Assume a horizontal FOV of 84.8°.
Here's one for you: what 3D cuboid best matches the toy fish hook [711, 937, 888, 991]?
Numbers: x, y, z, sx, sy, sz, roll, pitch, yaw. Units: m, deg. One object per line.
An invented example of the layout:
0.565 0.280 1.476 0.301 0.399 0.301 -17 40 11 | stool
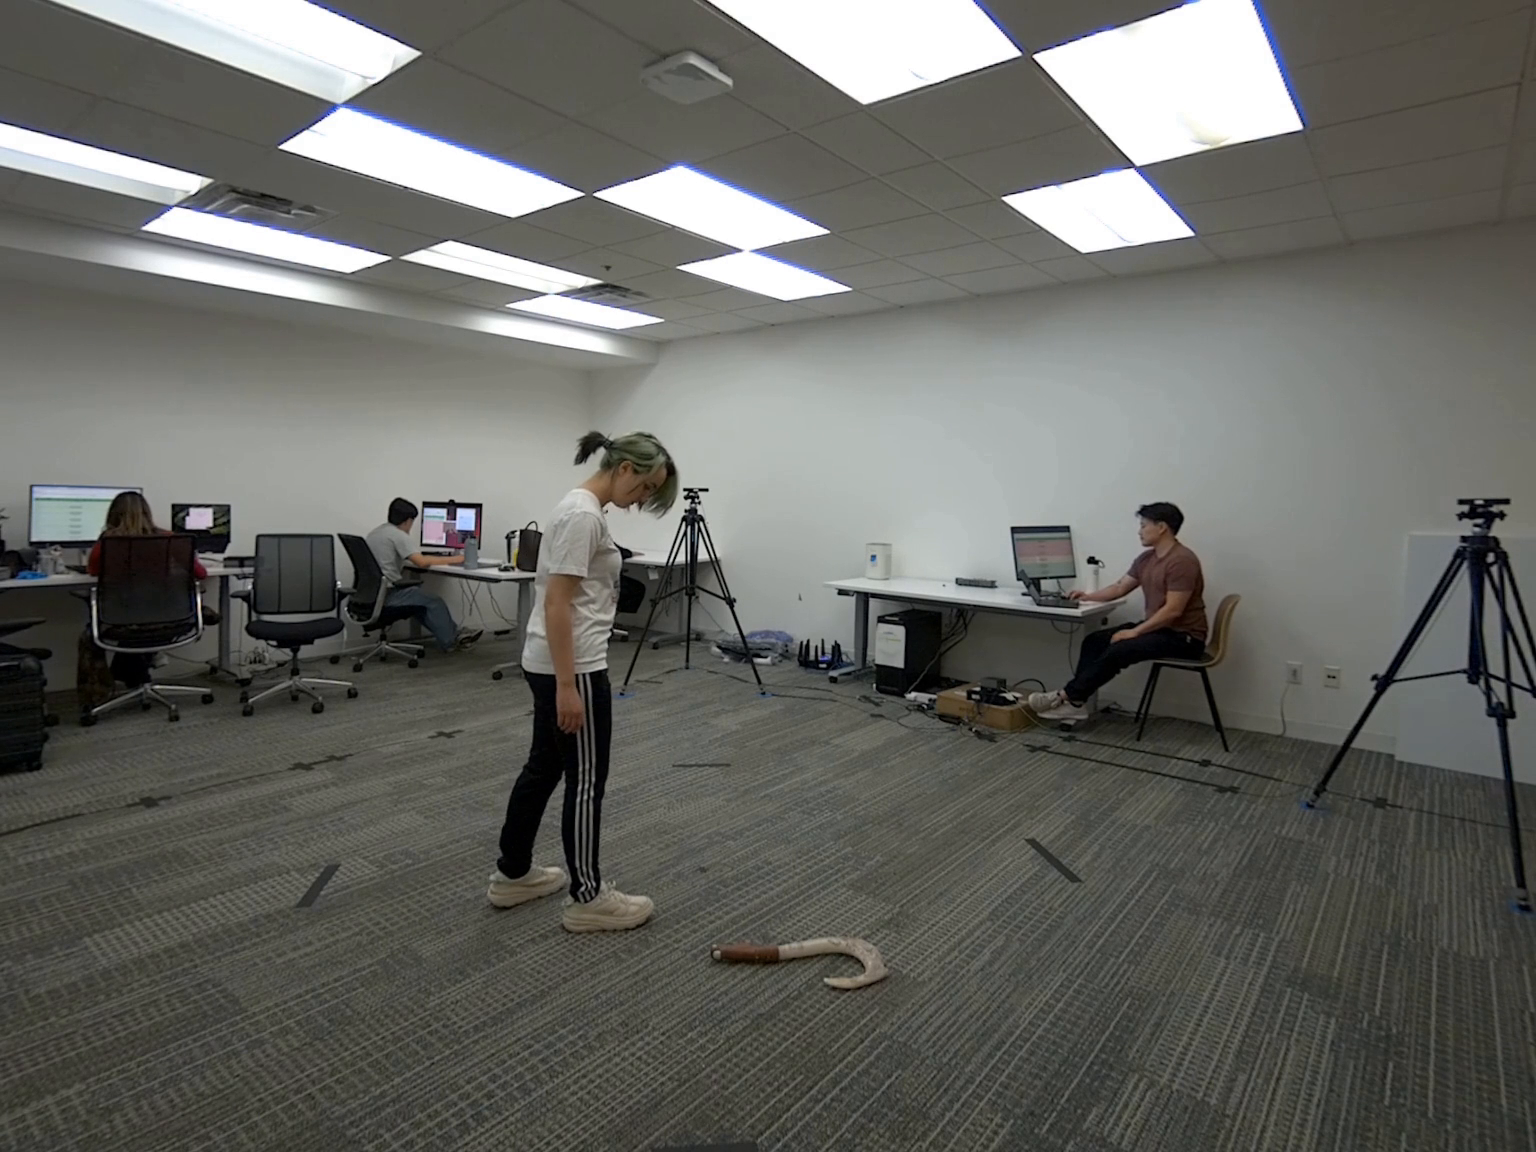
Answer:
0.084 1.115 2.467 0.504 0.048 0.226 1 5 -5 | toy fish hook
